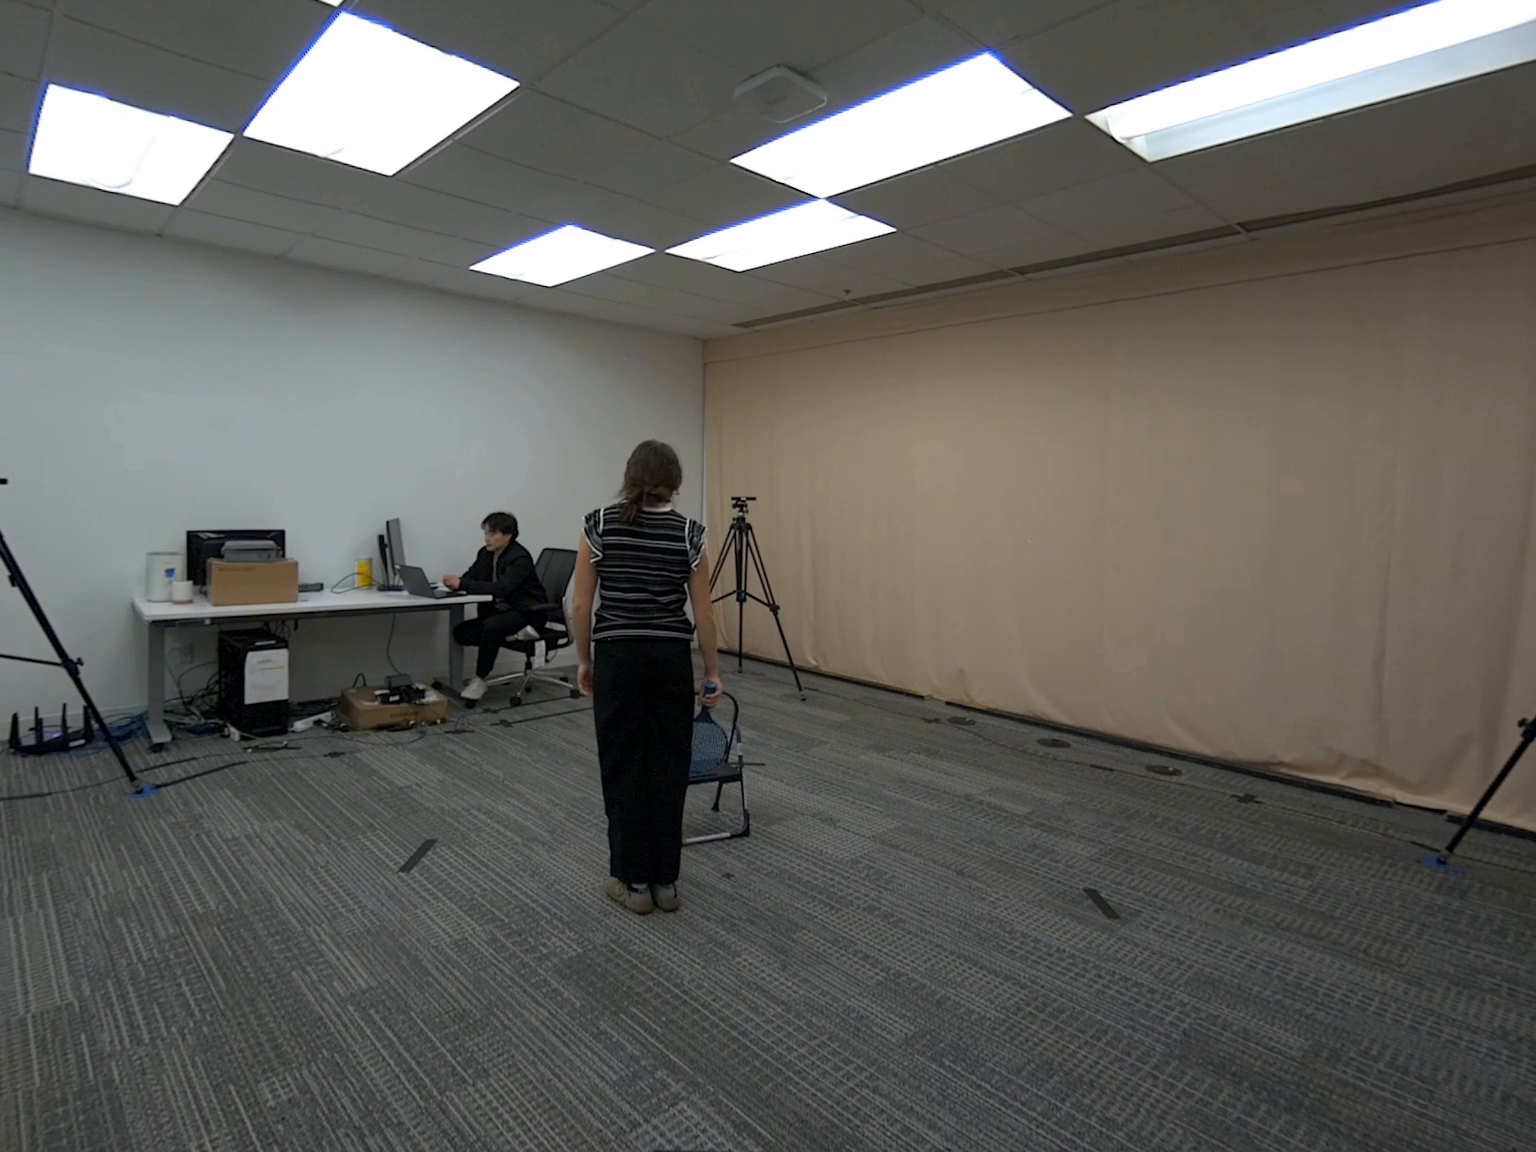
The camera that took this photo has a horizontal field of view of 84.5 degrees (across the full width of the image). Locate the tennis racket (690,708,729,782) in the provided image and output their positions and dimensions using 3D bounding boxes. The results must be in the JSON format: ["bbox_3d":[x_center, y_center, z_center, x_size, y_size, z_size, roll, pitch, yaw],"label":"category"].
[{"bbox_3d":[-0.257,0.561,3.018,0.212,0.426,0.032,0,24,-9],"label":"tennis racket"}]
